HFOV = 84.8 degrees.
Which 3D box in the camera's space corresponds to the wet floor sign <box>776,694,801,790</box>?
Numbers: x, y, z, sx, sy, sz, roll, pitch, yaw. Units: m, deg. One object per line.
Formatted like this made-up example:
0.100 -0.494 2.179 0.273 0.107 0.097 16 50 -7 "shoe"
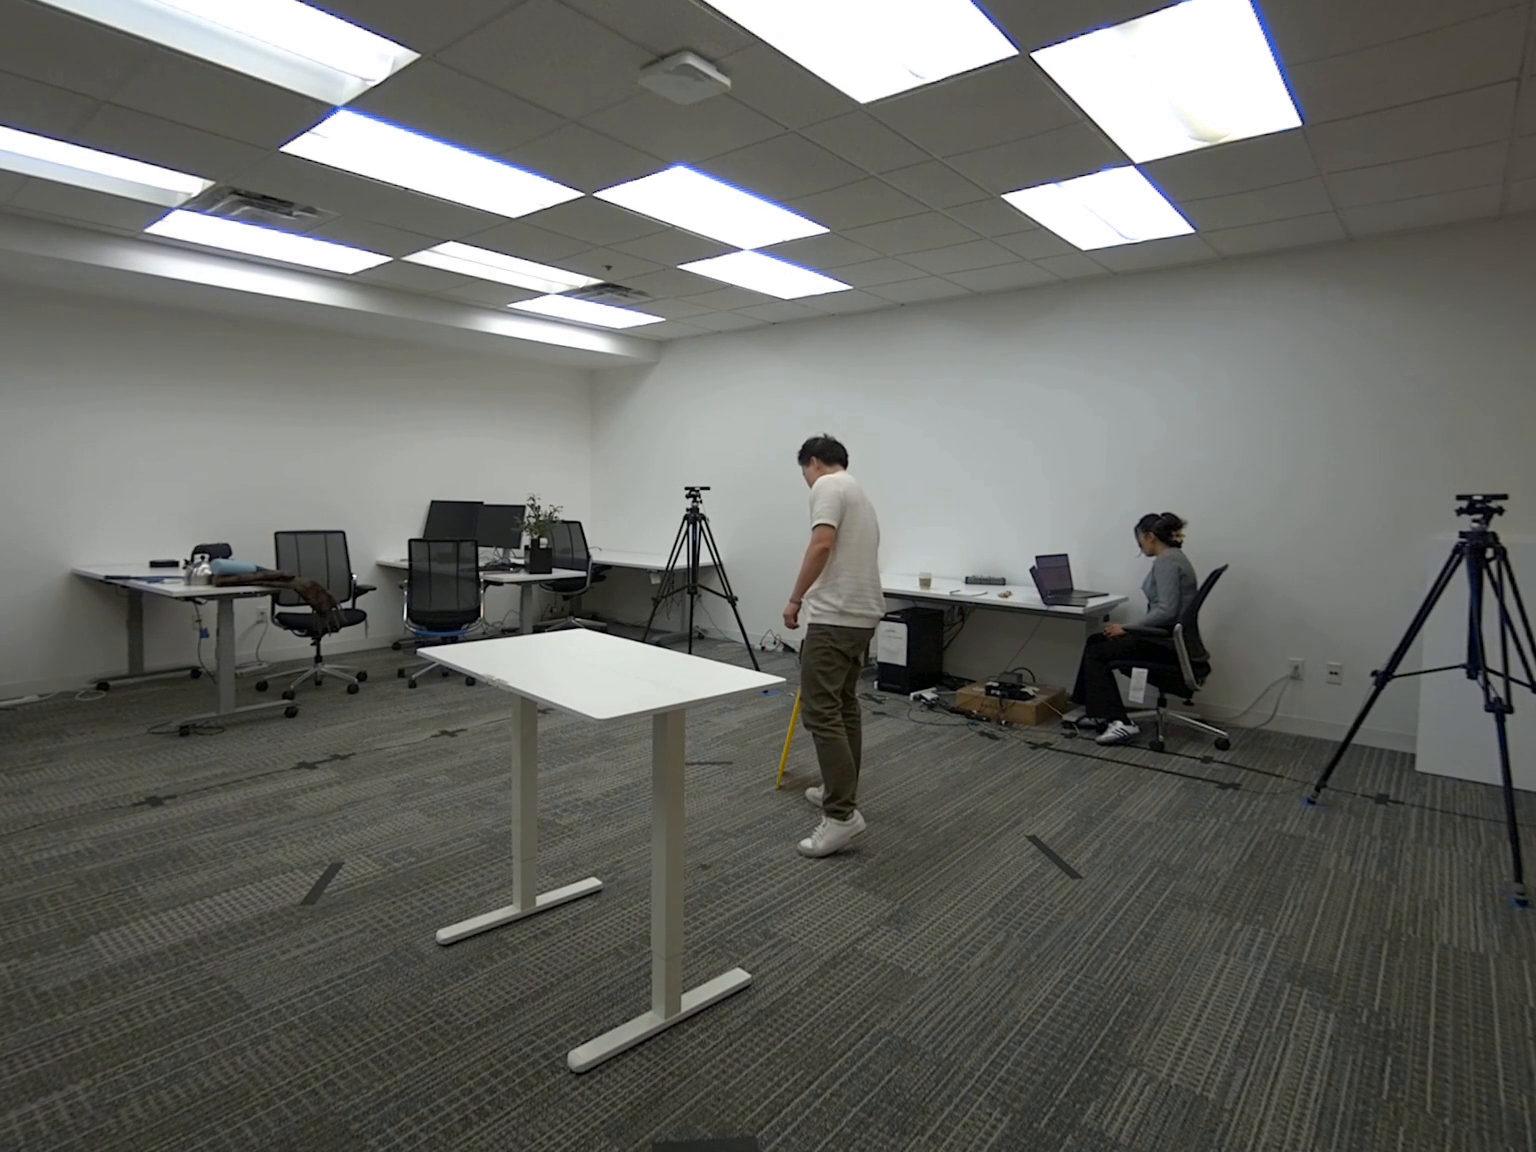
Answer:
0.197 0.655 4.039 0.292 0.644 0.281 1 4 7 "wet floor sign"
